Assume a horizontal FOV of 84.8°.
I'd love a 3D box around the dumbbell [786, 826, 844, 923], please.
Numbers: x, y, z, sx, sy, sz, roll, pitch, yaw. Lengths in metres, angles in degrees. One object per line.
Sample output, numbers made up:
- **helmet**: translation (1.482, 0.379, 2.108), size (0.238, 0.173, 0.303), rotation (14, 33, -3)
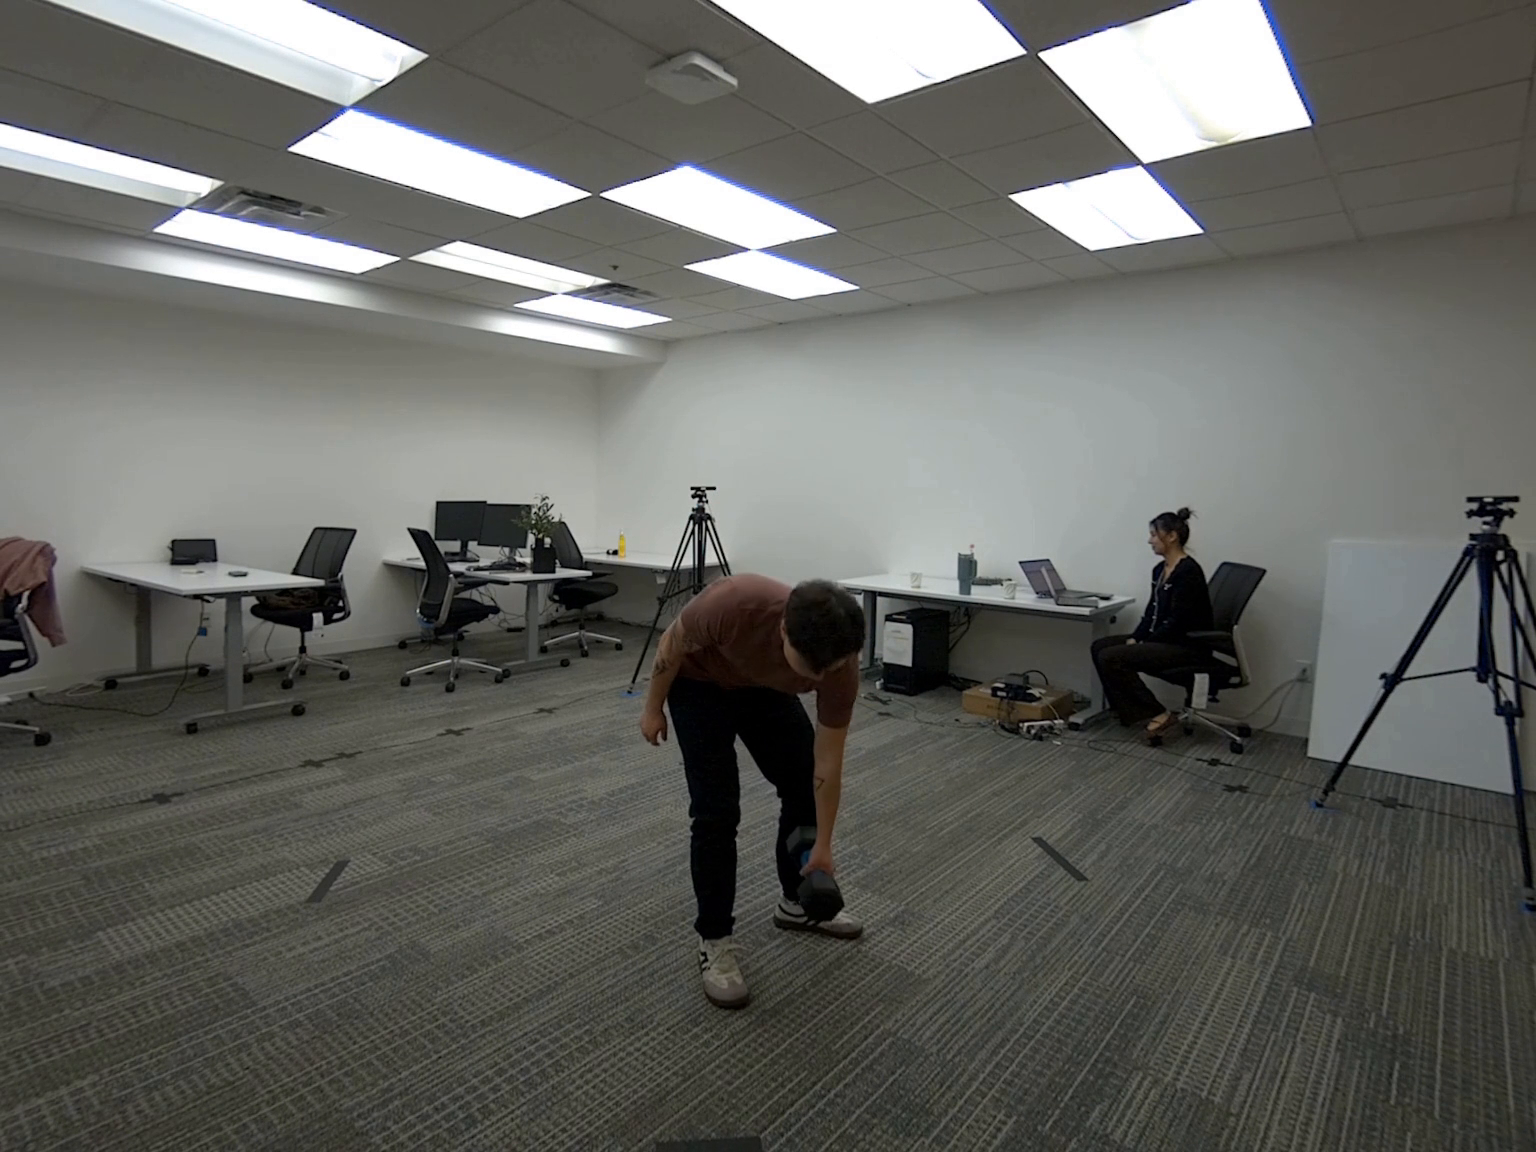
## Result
- **dumbbell**: translation (0.120, 0.826, 2.409), size (0.109, 0.120, 0.300), rotation (-27, 19, 0)
